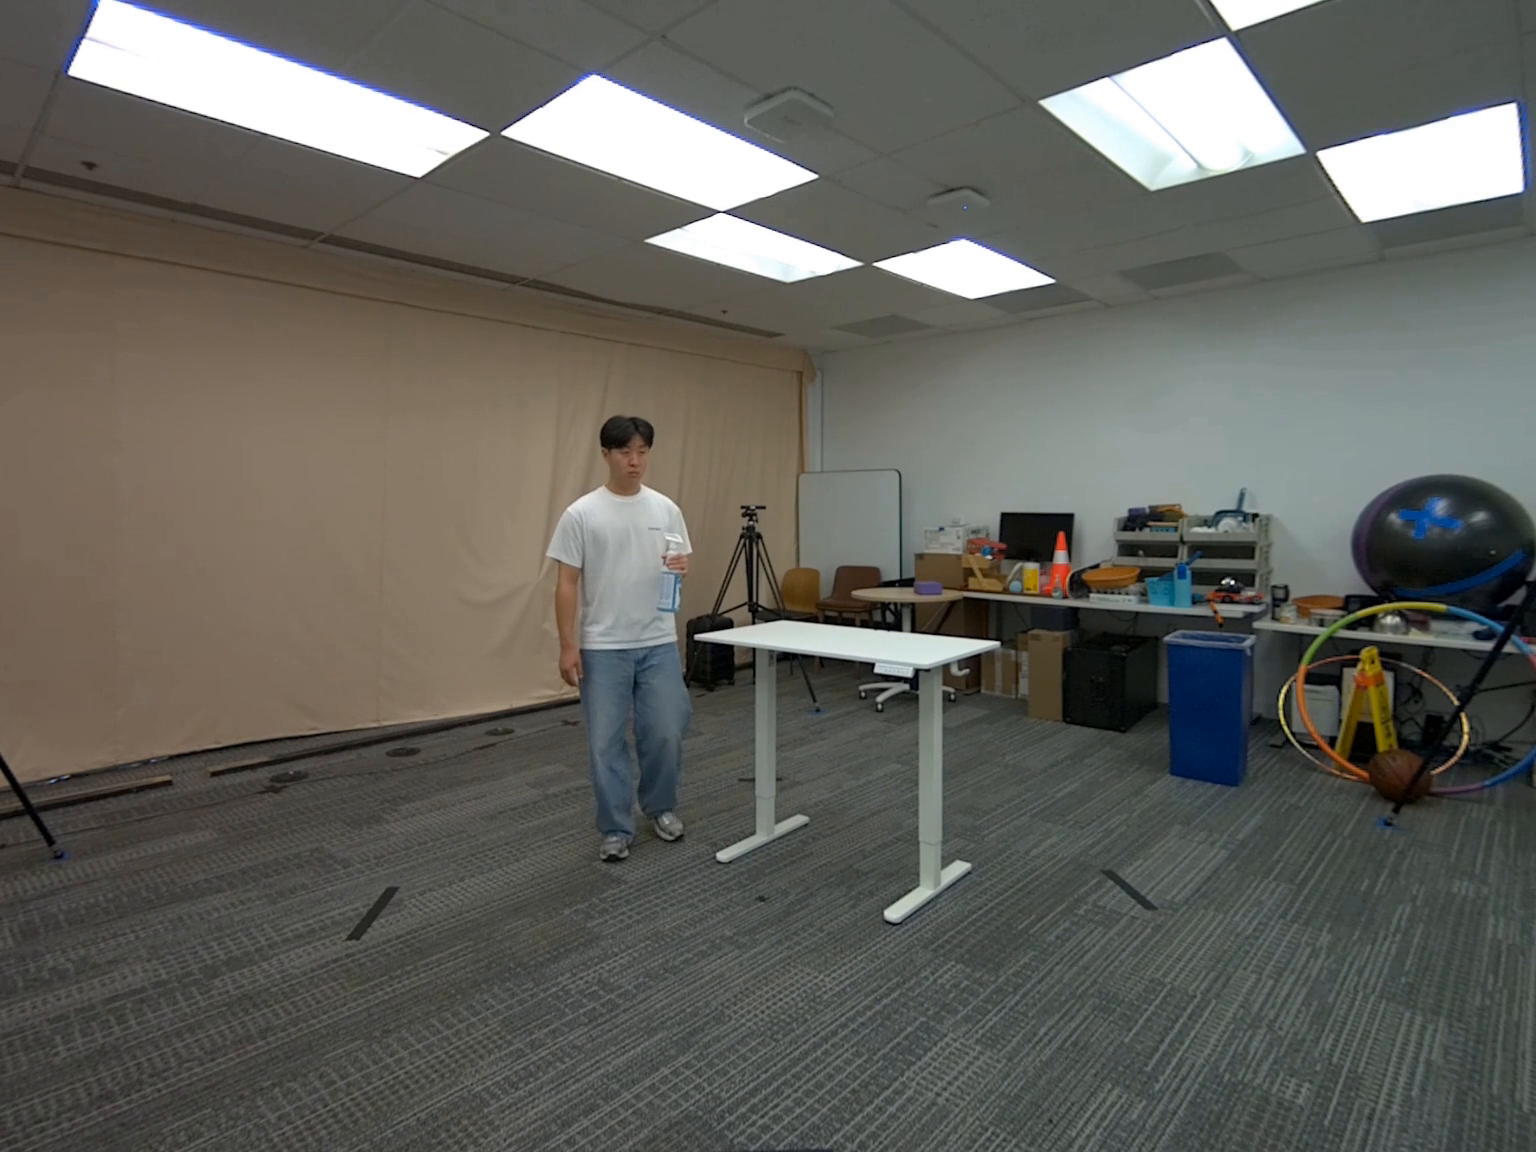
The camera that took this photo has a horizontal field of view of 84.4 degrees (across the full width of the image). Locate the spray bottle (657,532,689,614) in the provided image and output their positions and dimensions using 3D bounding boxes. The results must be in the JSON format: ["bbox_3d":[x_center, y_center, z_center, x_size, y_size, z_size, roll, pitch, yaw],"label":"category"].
[{"bbox_3d":[-0.364,-0.010,3.207,0.084,0.297,0.093,4,0,-31],"label":"spray bottle"}]
